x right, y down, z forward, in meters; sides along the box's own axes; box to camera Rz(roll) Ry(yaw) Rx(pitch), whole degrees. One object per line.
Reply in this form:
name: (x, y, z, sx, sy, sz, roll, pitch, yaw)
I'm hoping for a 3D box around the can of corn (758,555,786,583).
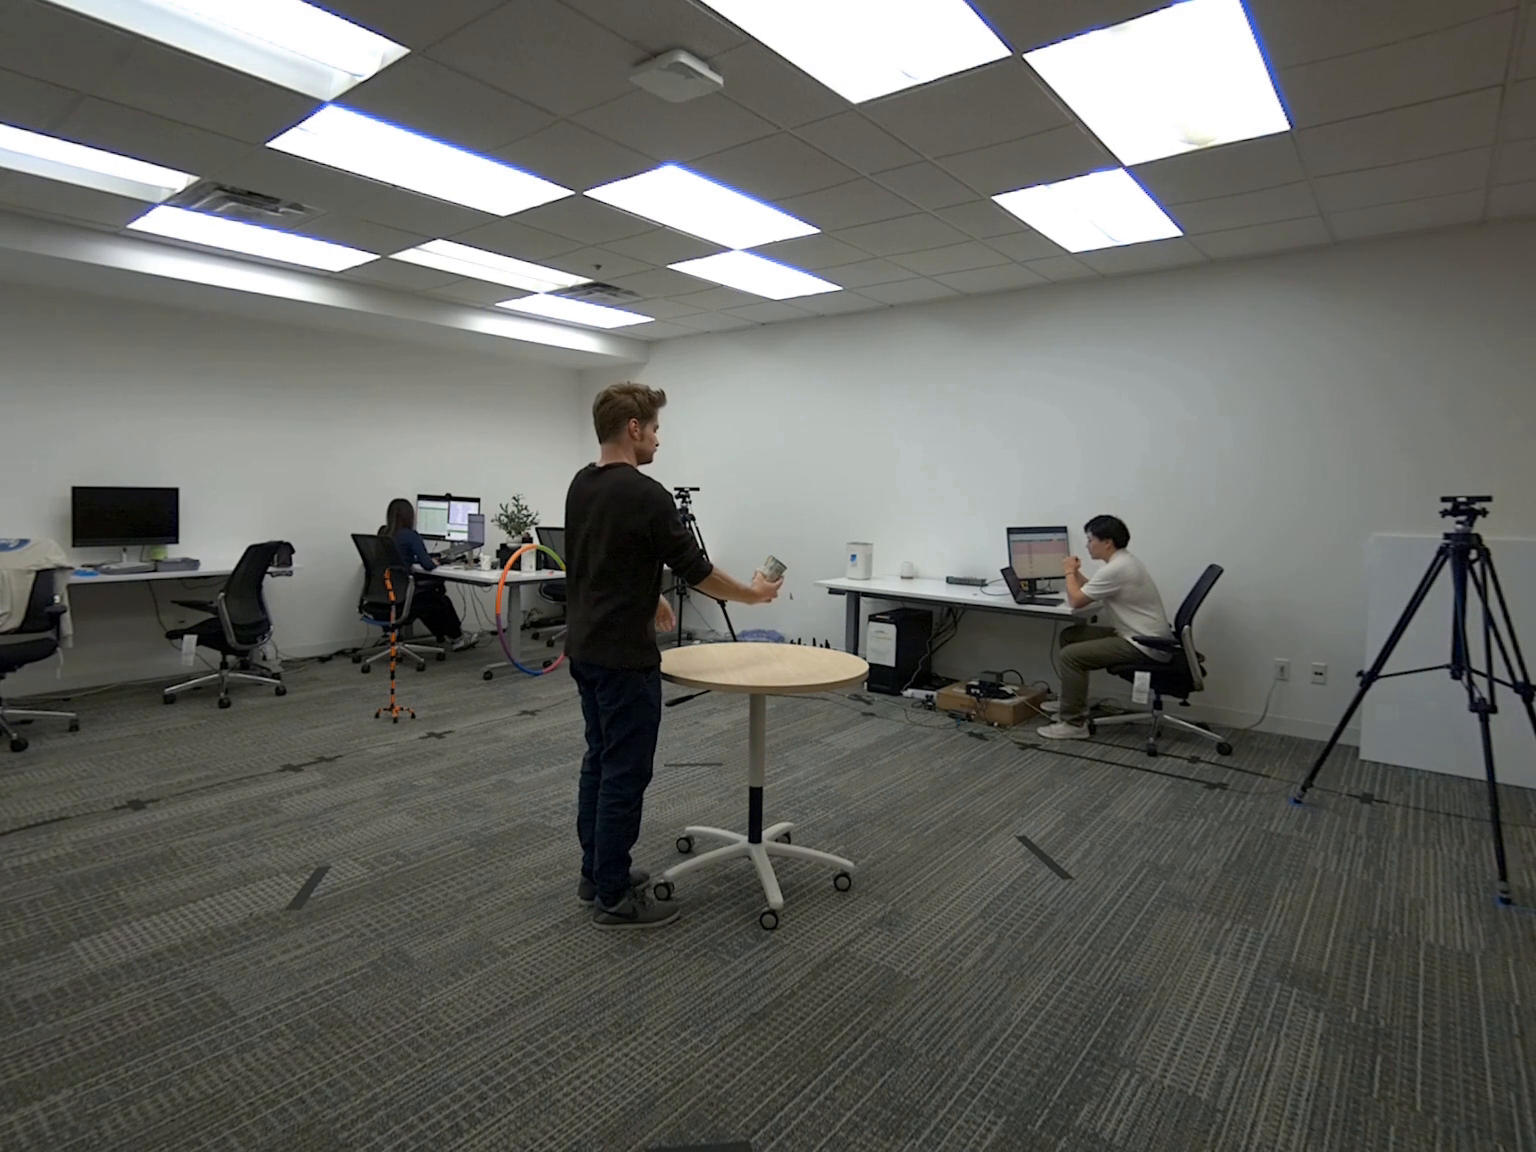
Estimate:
can of corn: (-0.005, -0.007, 2.938, 0.074, 0.111, 0.074, 38, -4, 1)
